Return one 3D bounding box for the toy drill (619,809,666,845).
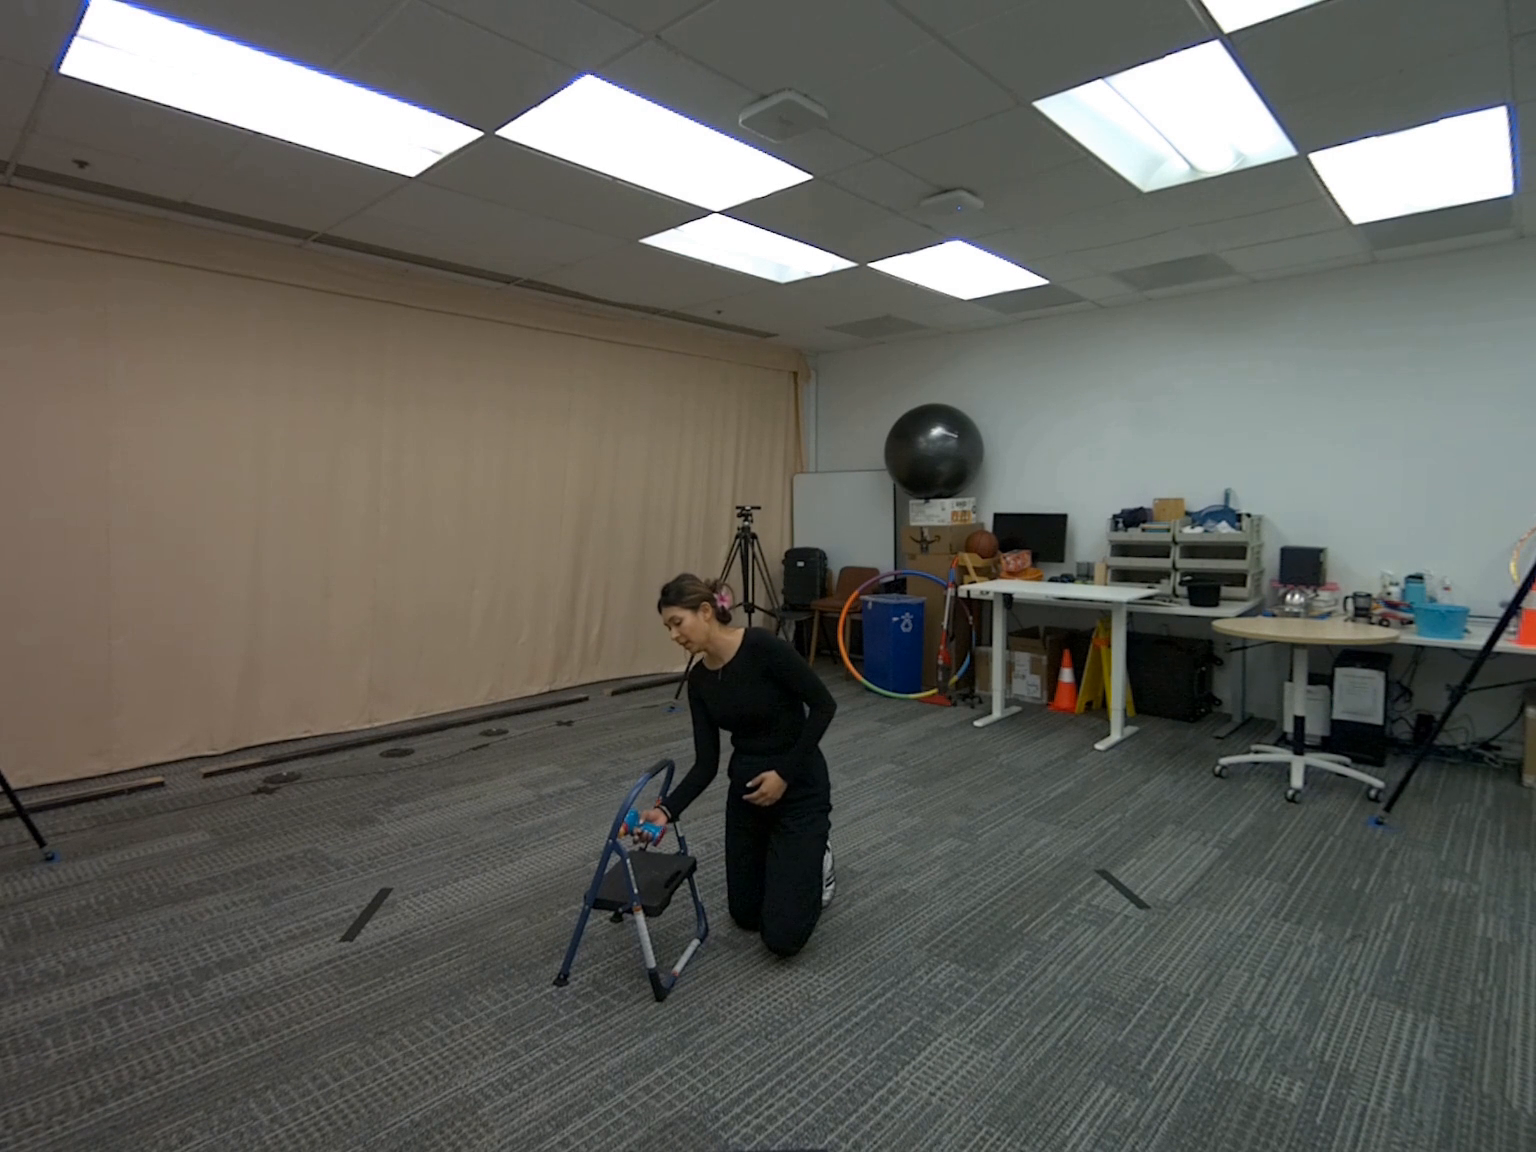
[{"bbox_3d":[-0.395,0.764,2.479,0.149,0.061,0.167,21,20,14],"label":"toy drill"}]
